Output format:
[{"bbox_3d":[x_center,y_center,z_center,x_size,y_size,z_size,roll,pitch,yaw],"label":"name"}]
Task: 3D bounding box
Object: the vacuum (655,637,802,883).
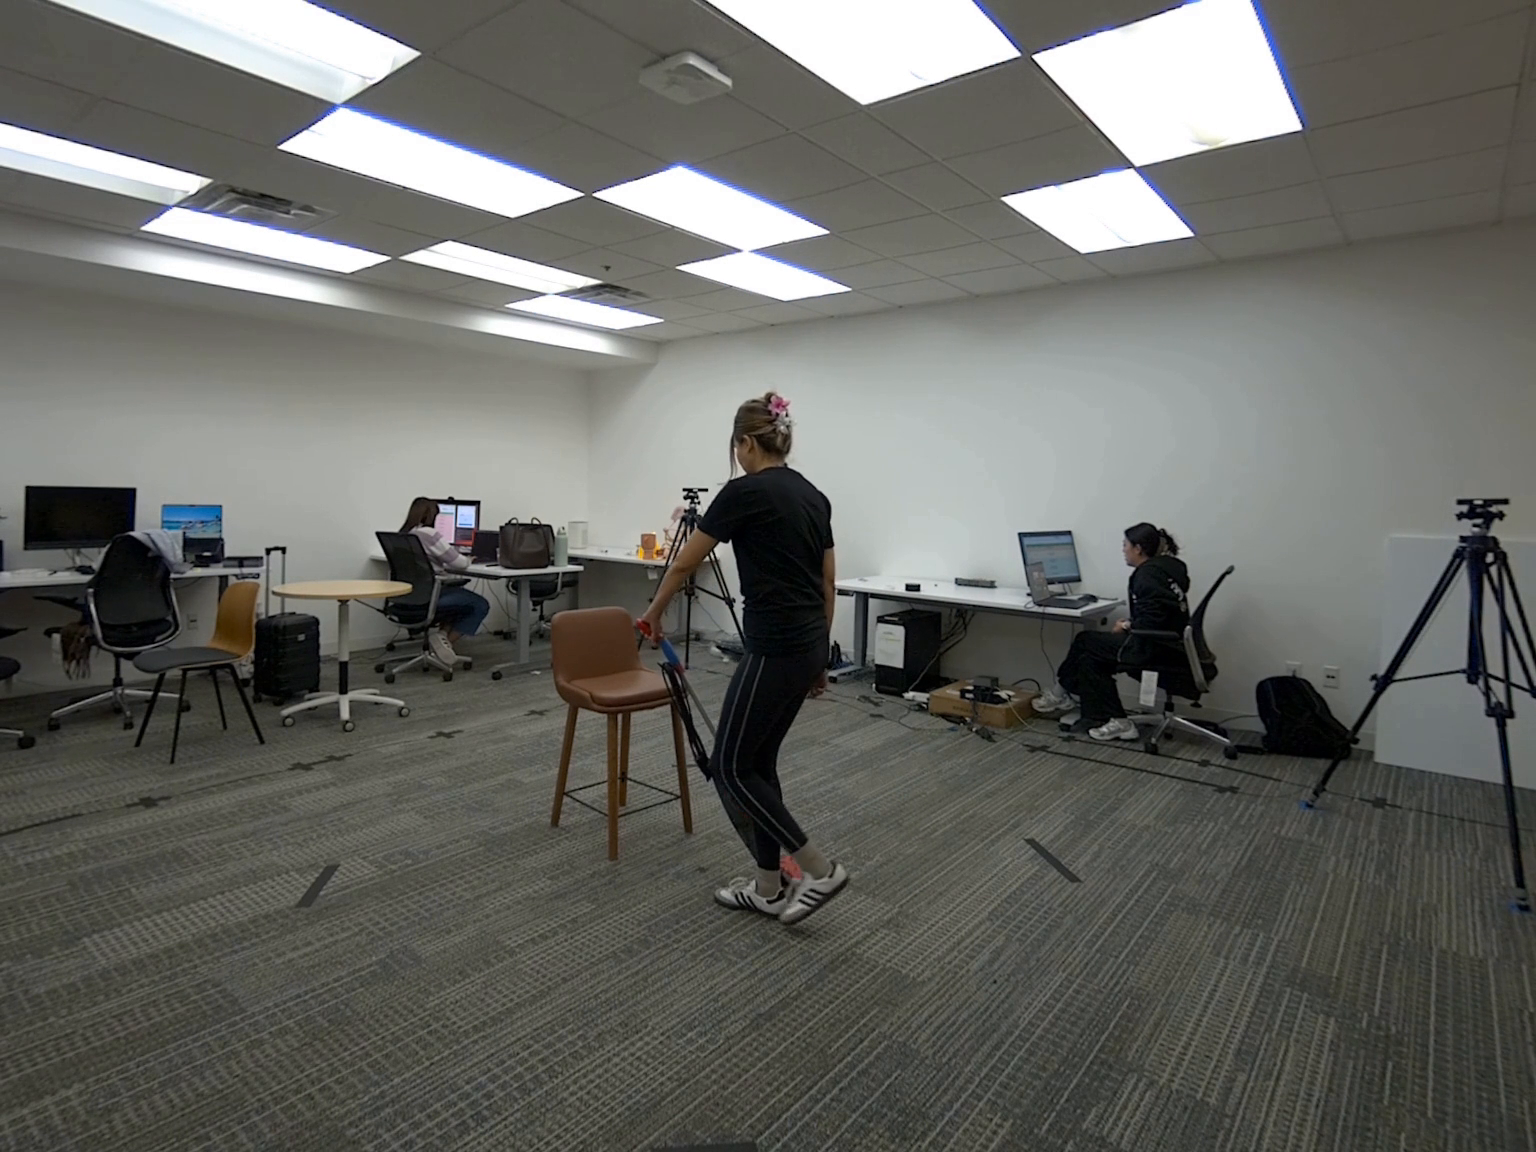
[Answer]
[{"bbox_3d":[-0.211,0.623,3.005,0.143,1.042,0.255,-30,5,-8],"label":"vacuum"}]
